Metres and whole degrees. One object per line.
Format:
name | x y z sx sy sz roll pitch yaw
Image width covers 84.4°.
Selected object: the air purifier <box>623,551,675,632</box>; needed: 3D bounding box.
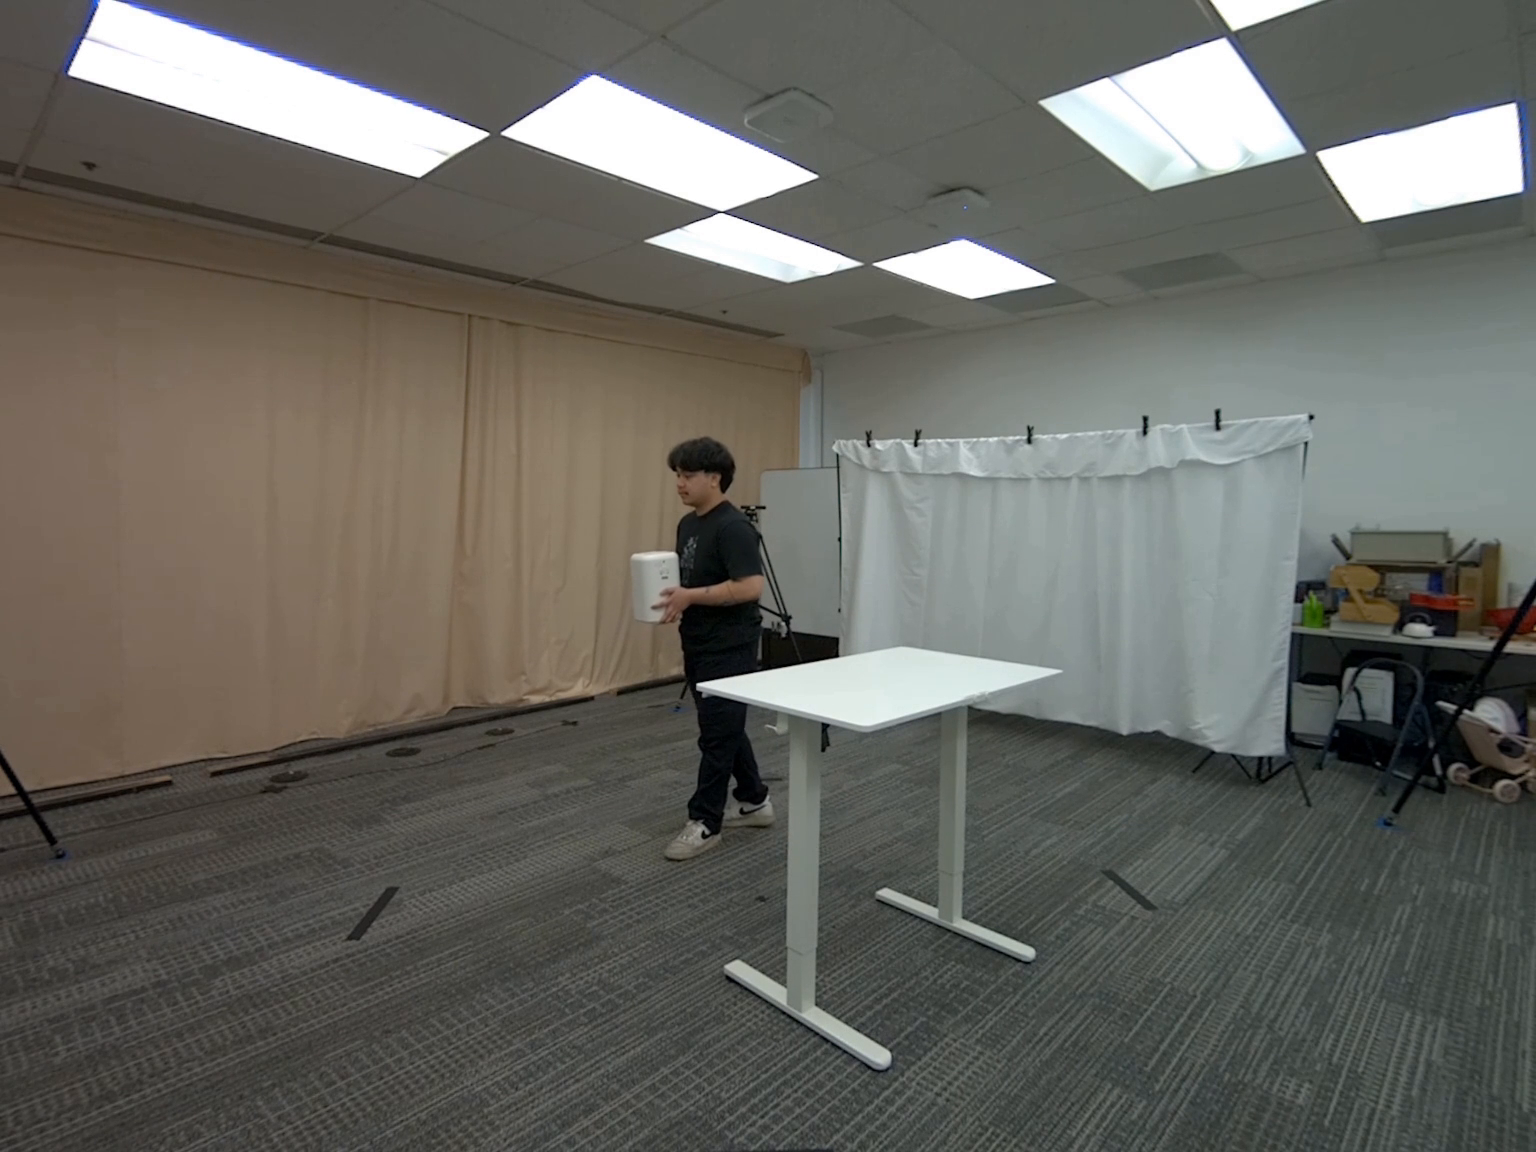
air purifier | -0.466 0.055 3.294 0.169 0.263 0.175 -3 12 -10
